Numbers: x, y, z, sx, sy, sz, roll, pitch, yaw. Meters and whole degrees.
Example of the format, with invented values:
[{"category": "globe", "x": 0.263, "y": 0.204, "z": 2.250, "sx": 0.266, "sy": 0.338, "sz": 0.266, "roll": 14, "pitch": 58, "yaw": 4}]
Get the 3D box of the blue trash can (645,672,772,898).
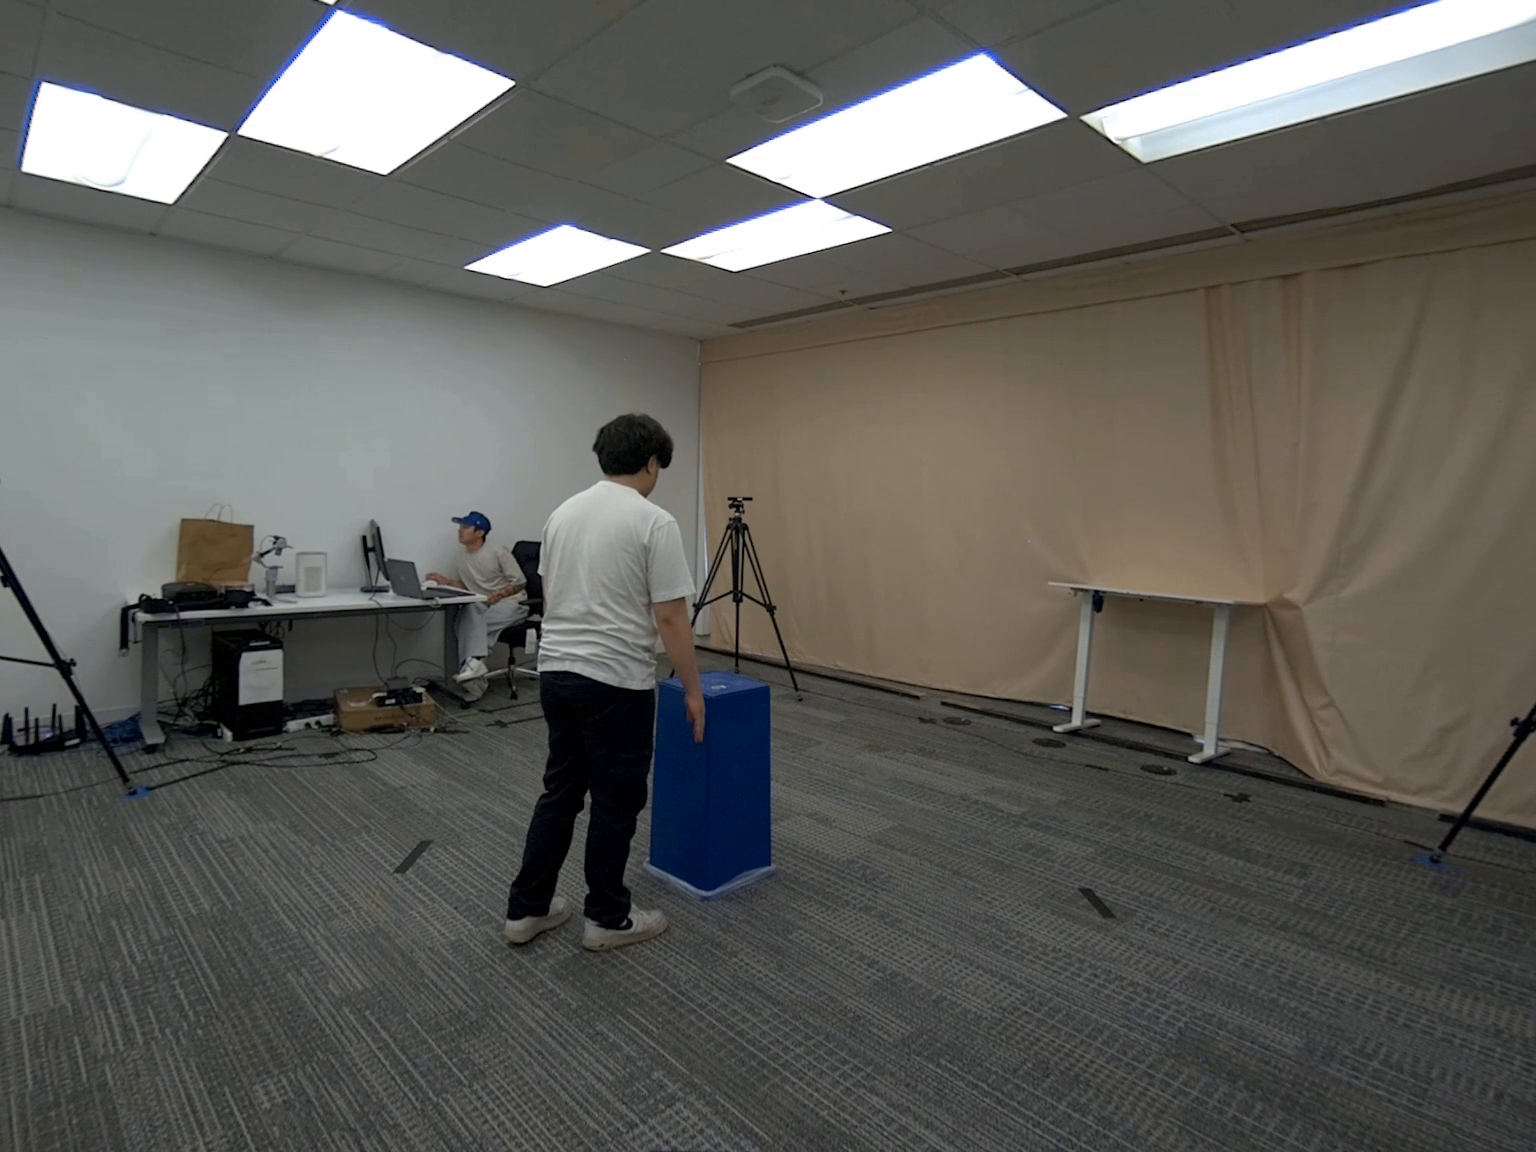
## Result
[{"category": "blue trash can", "x": -0.210, "y": 0.749, "z": 3.127, "sx": 0.369, "sy": 0.711, "sz": 0.384, "roll": -2, "pitch": 6, "yaw": -45}]
